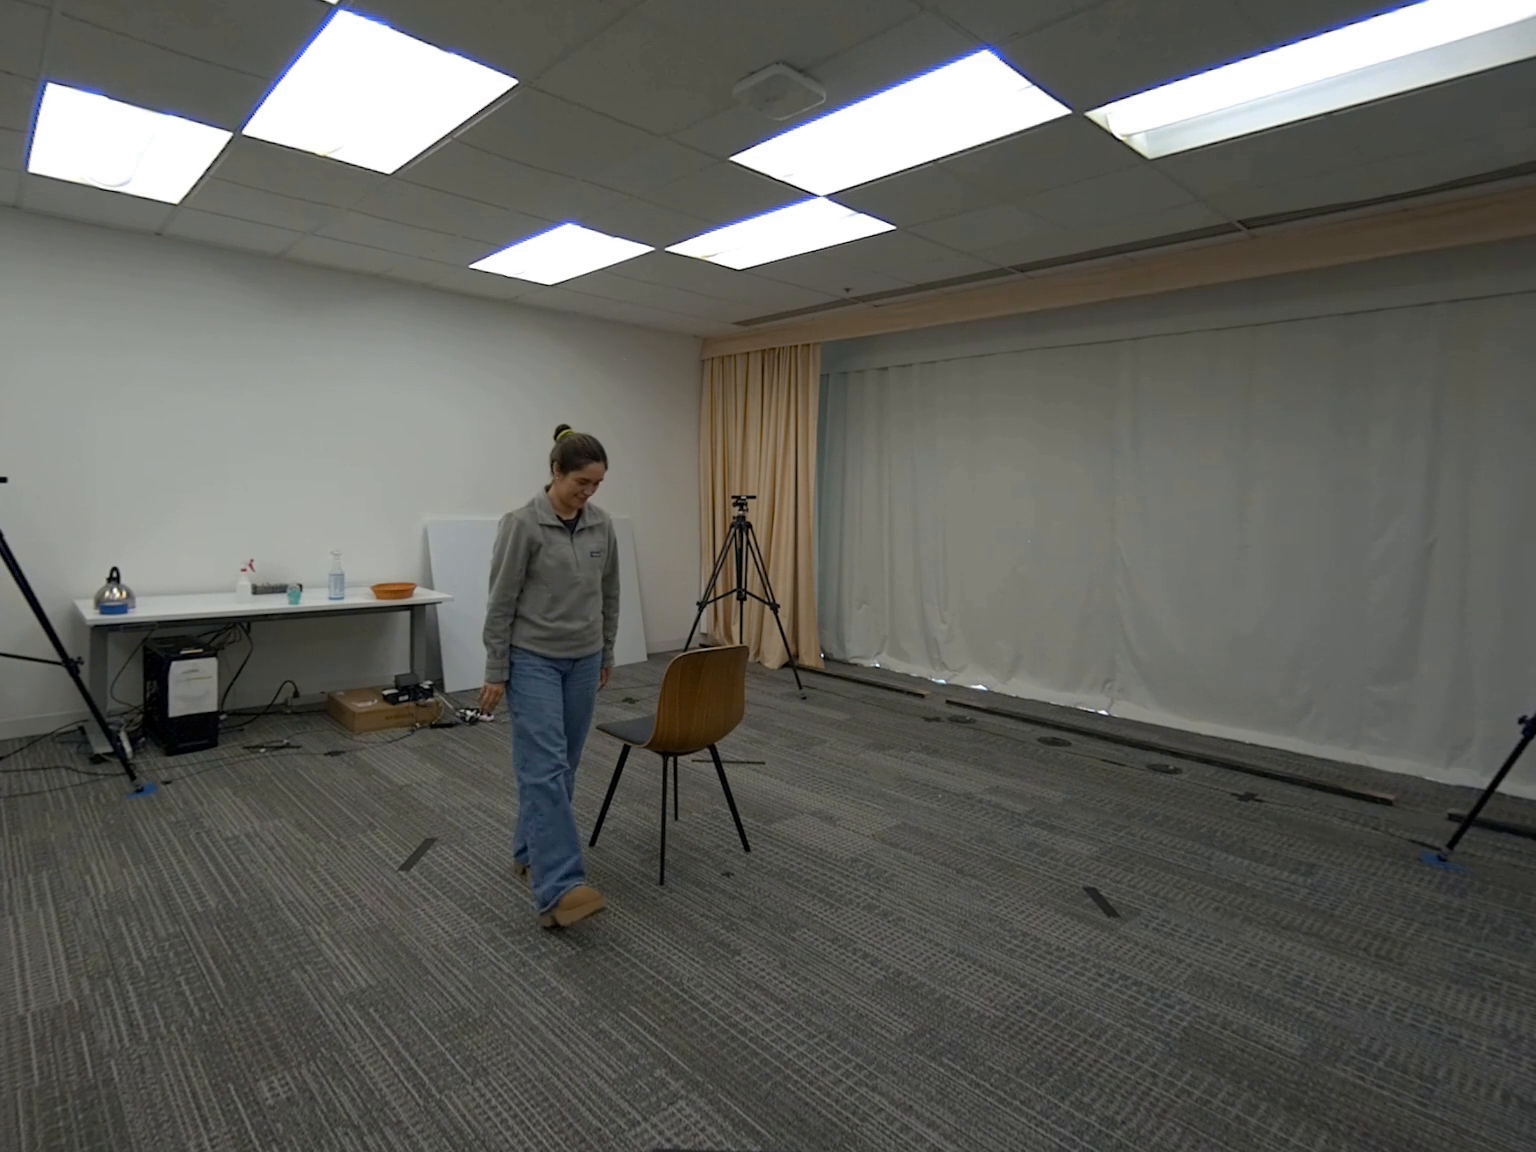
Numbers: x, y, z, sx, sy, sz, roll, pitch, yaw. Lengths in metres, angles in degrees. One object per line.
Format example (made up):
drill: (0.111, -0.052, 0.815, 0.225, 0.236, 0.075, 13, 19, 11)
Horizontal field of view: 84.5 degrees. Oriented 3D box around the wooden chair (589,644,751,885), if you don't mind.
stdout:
wooden chair: (-0.384, 0.651, 3.292, 0.467, 0.873, 0.537, -2, 9, -45)
